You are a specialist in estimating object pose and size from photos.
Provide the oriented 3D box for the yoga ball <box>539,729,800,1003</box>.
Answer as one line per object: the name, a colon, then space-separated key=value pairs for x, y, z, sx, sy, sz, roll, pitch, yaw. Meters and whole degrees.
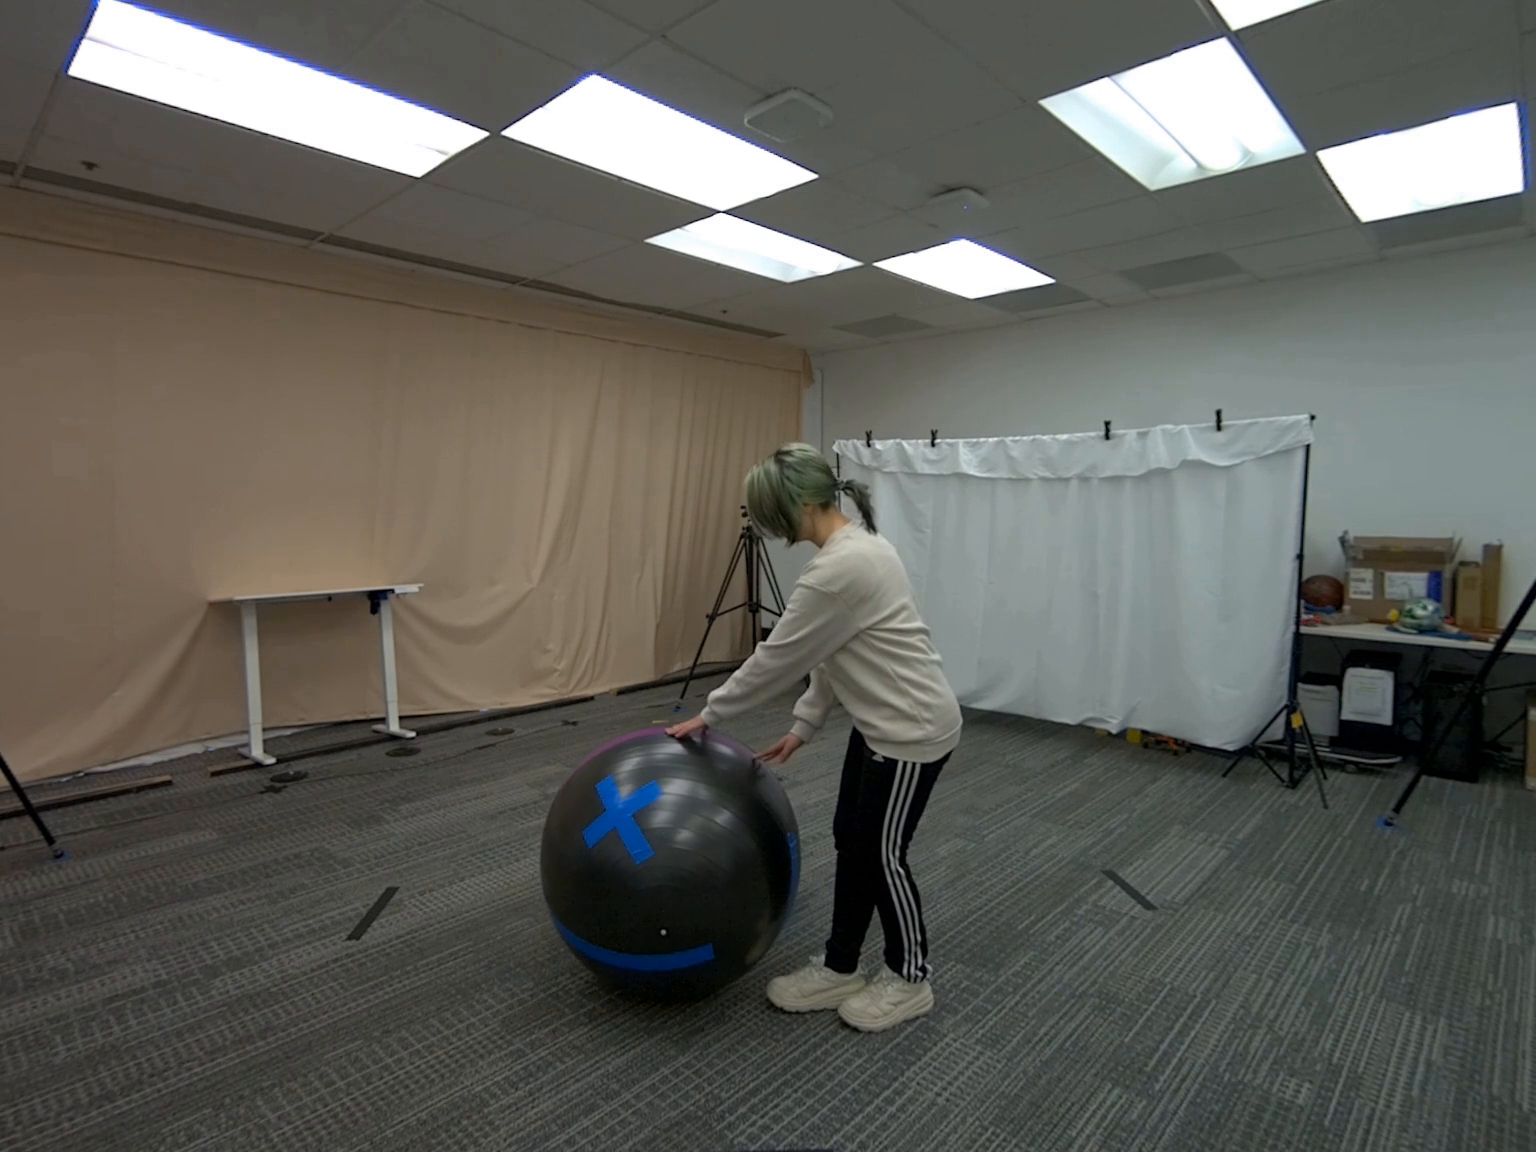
yoga ball: x=-0.285 y=0.819 z=2.466 sx=0.757 sy=0.756 sz=0.760 roll=0 pitch=4 yaw=-2
